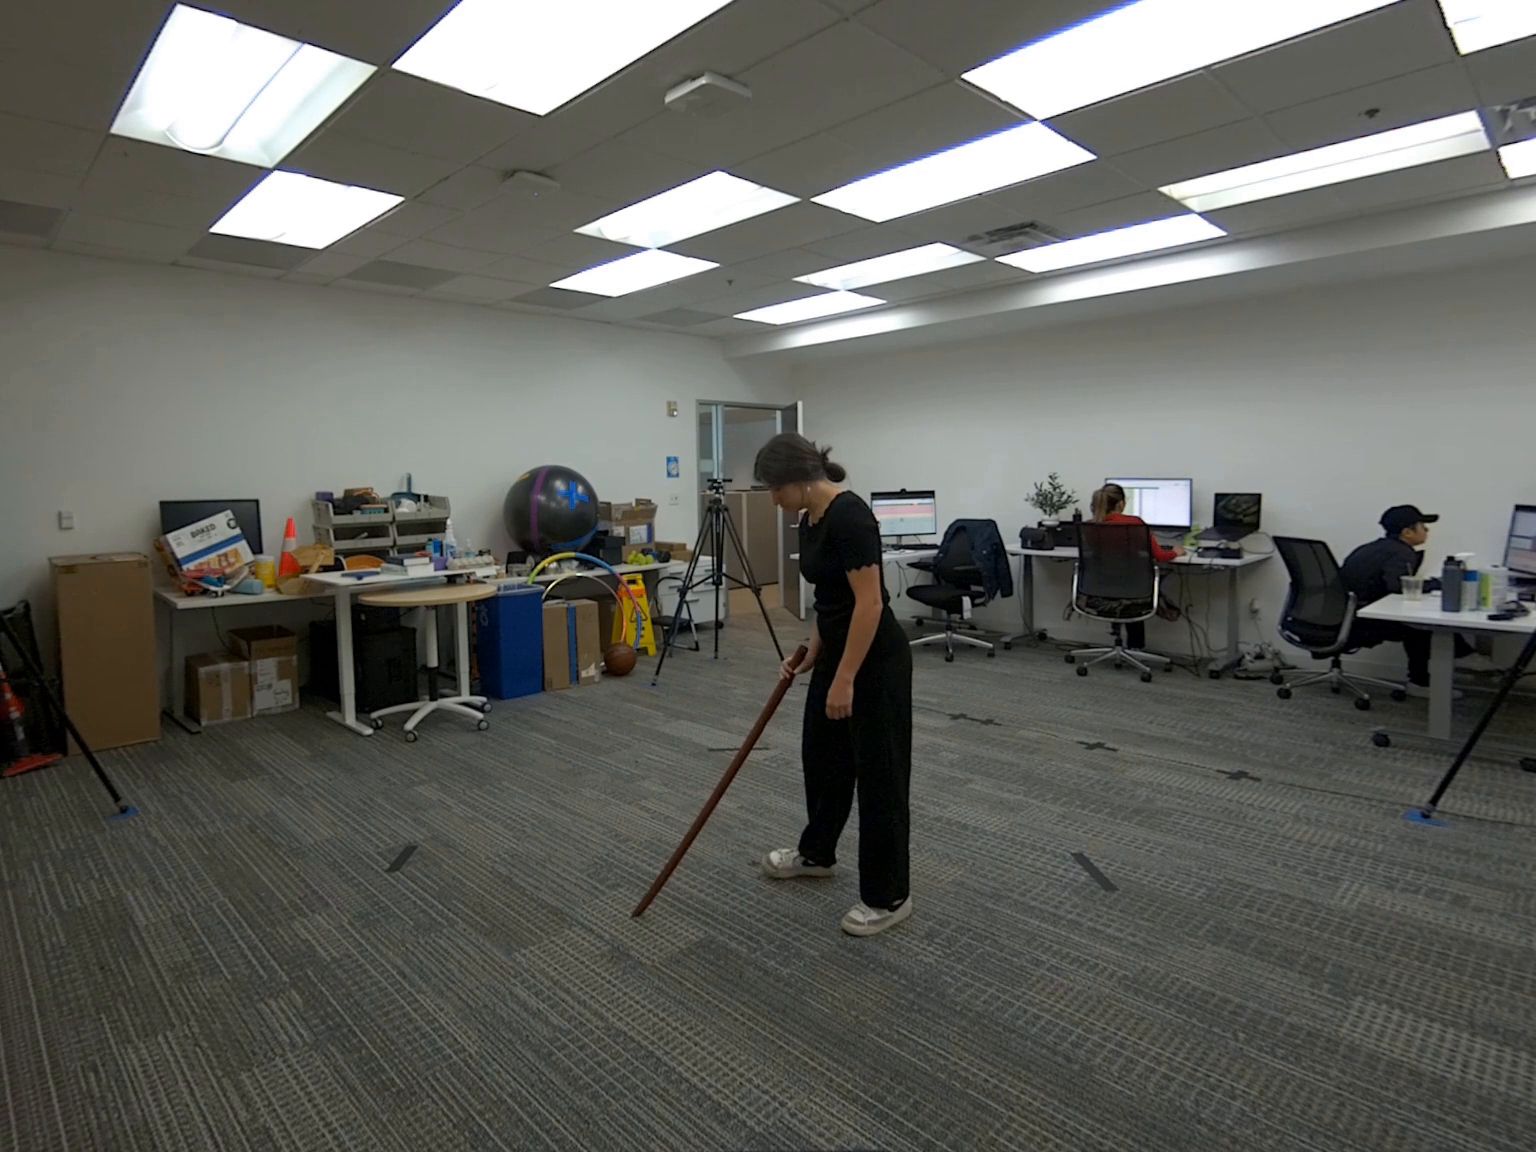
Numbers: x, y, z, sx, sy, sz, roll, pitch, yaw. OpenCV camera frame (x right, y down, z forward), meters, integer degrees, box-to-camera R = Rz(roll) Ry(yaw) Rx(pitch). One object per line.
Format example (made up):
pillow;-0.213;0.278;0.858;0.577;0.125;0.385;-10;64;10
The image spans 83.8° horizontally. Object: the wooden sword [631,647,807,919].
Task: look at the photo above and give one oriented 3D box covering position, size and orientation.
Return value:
wooden sword;-0.166;0.690;2.747;0.050;1.025;0.024;33;-3;-14
